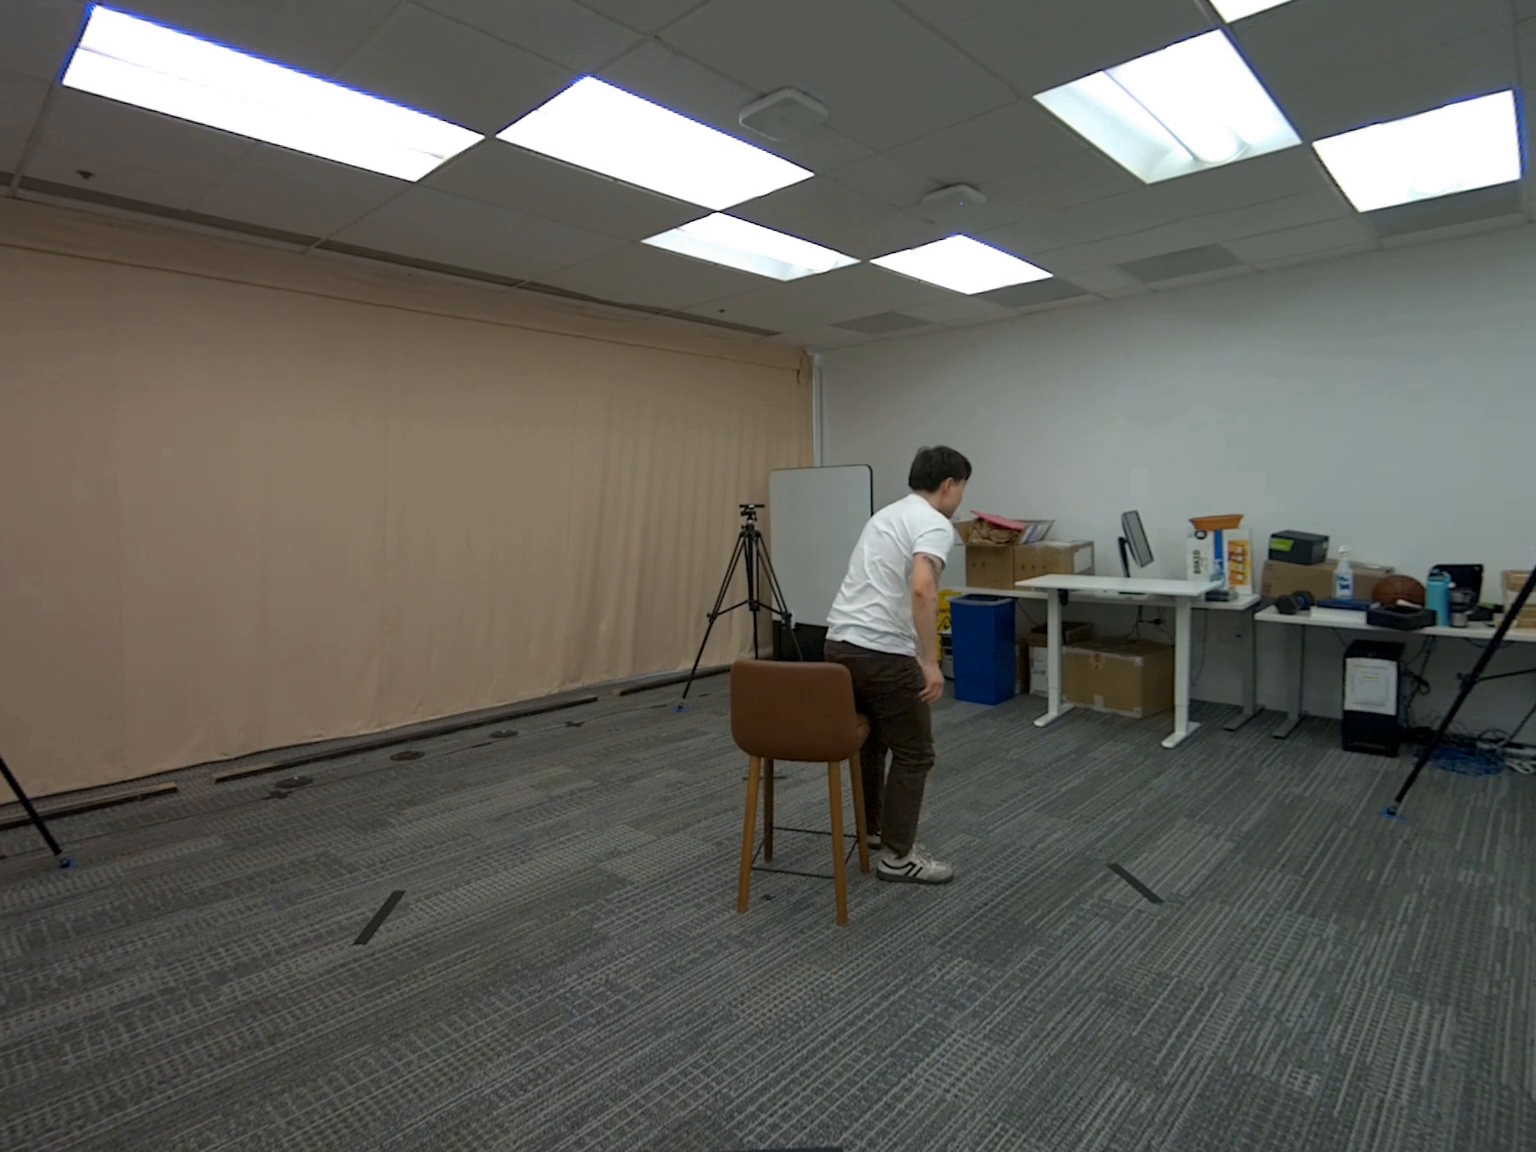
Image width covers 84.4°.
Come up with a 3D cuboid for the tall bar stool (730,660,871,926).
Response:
[{"bbox_3d":[0.123,0.702,3.009,0.465,0.887,0.460,0,5,18],"label":"tall bar stool"}]
